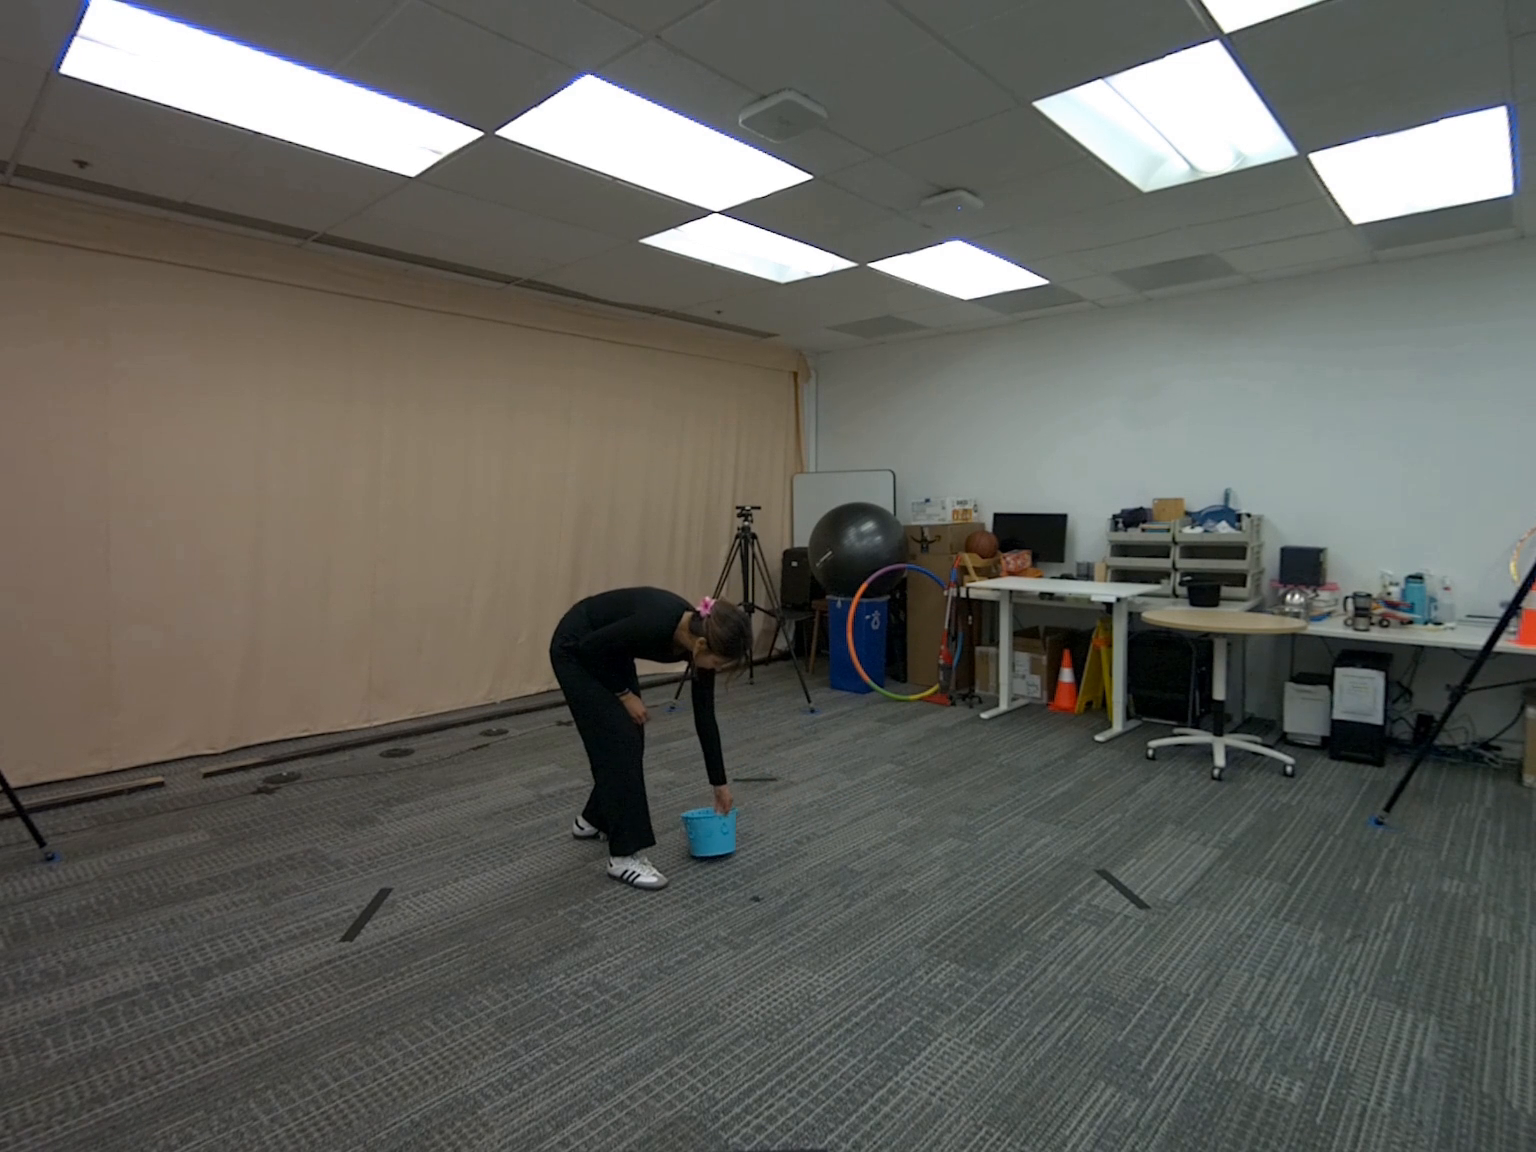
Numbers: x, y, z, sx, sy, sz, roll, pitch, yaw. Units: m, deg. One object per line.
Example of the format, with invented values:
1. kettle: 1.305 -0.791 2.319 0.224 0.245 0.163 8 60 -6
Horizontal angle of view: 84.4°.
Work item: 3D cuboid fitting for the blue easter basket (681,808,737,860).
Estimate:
1. blue easter basket: -0.217 1.018 3.369 0.243 0.157 0.243 -7 -7 -3
